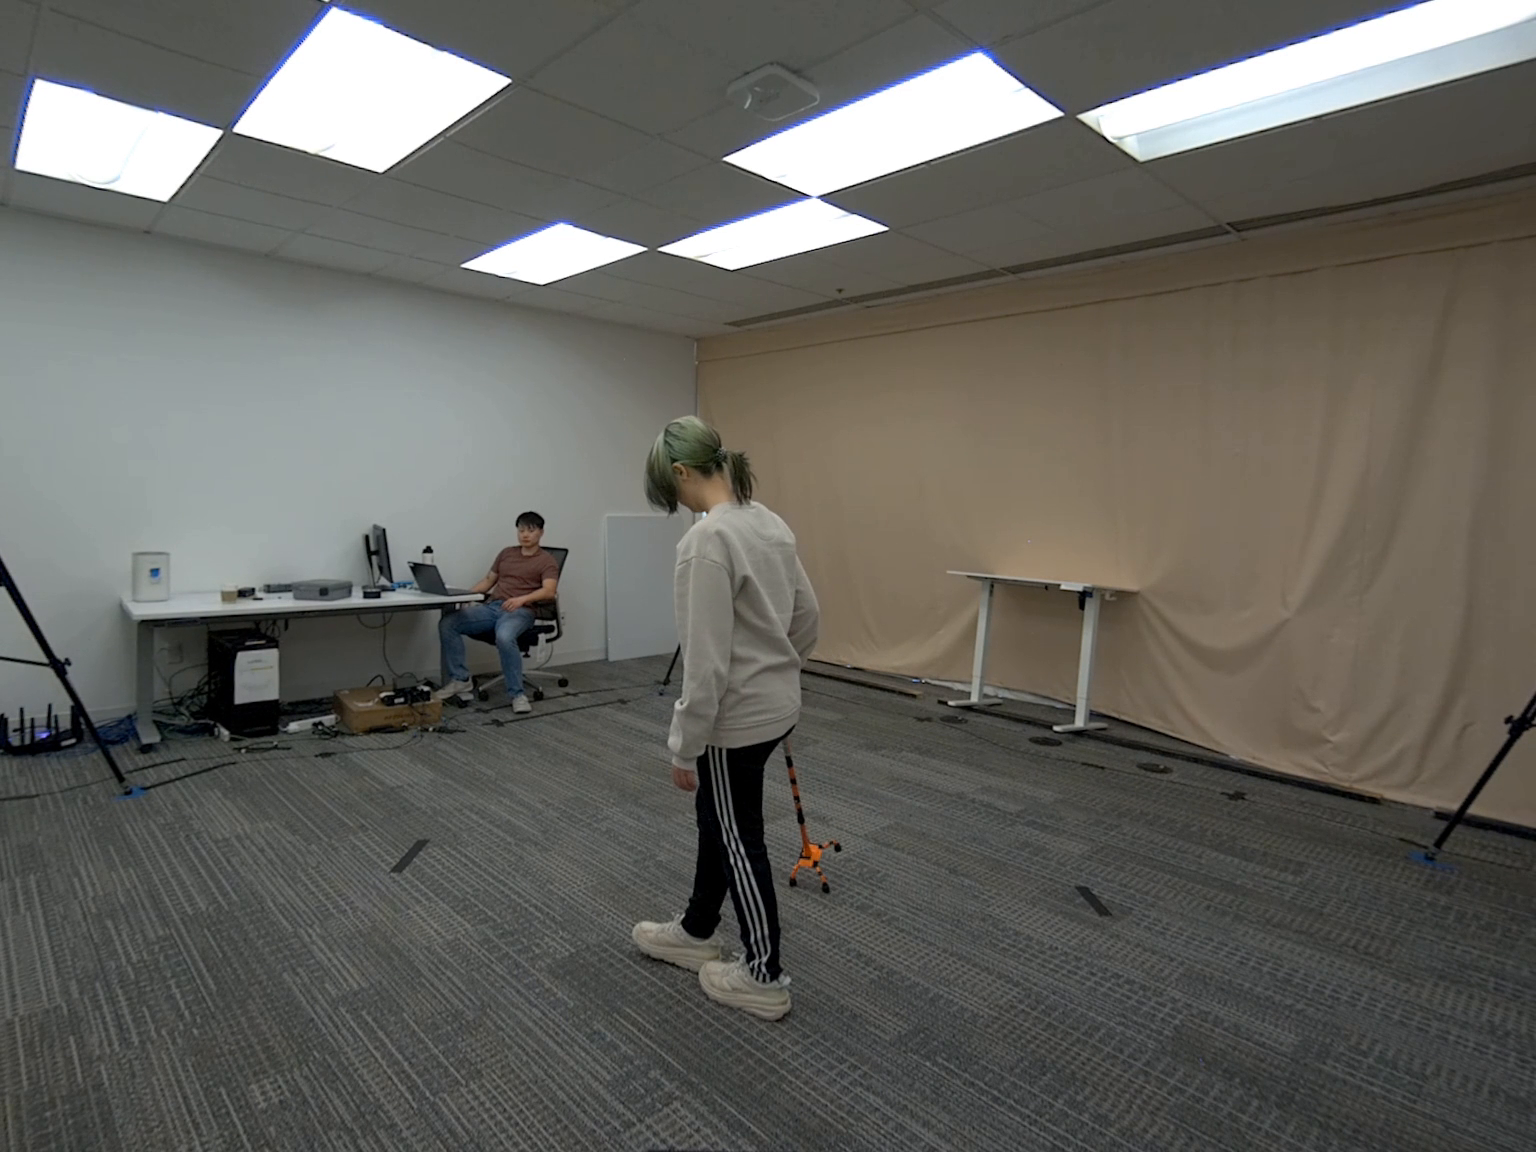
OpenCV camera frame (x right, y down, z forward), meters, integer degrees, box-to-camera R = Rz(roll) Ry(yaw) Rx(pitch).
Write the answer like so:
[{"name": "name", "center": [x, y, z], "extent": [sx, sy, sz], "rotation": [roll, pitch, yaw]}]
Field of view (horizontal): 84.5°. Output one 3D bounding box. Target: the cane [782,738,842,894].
[{"name": "cane", "center": [0.098, 0.688, 2.861], "extent": [0.154, 0.888, 0.208], "rotation": [1, 31, 19]}]
